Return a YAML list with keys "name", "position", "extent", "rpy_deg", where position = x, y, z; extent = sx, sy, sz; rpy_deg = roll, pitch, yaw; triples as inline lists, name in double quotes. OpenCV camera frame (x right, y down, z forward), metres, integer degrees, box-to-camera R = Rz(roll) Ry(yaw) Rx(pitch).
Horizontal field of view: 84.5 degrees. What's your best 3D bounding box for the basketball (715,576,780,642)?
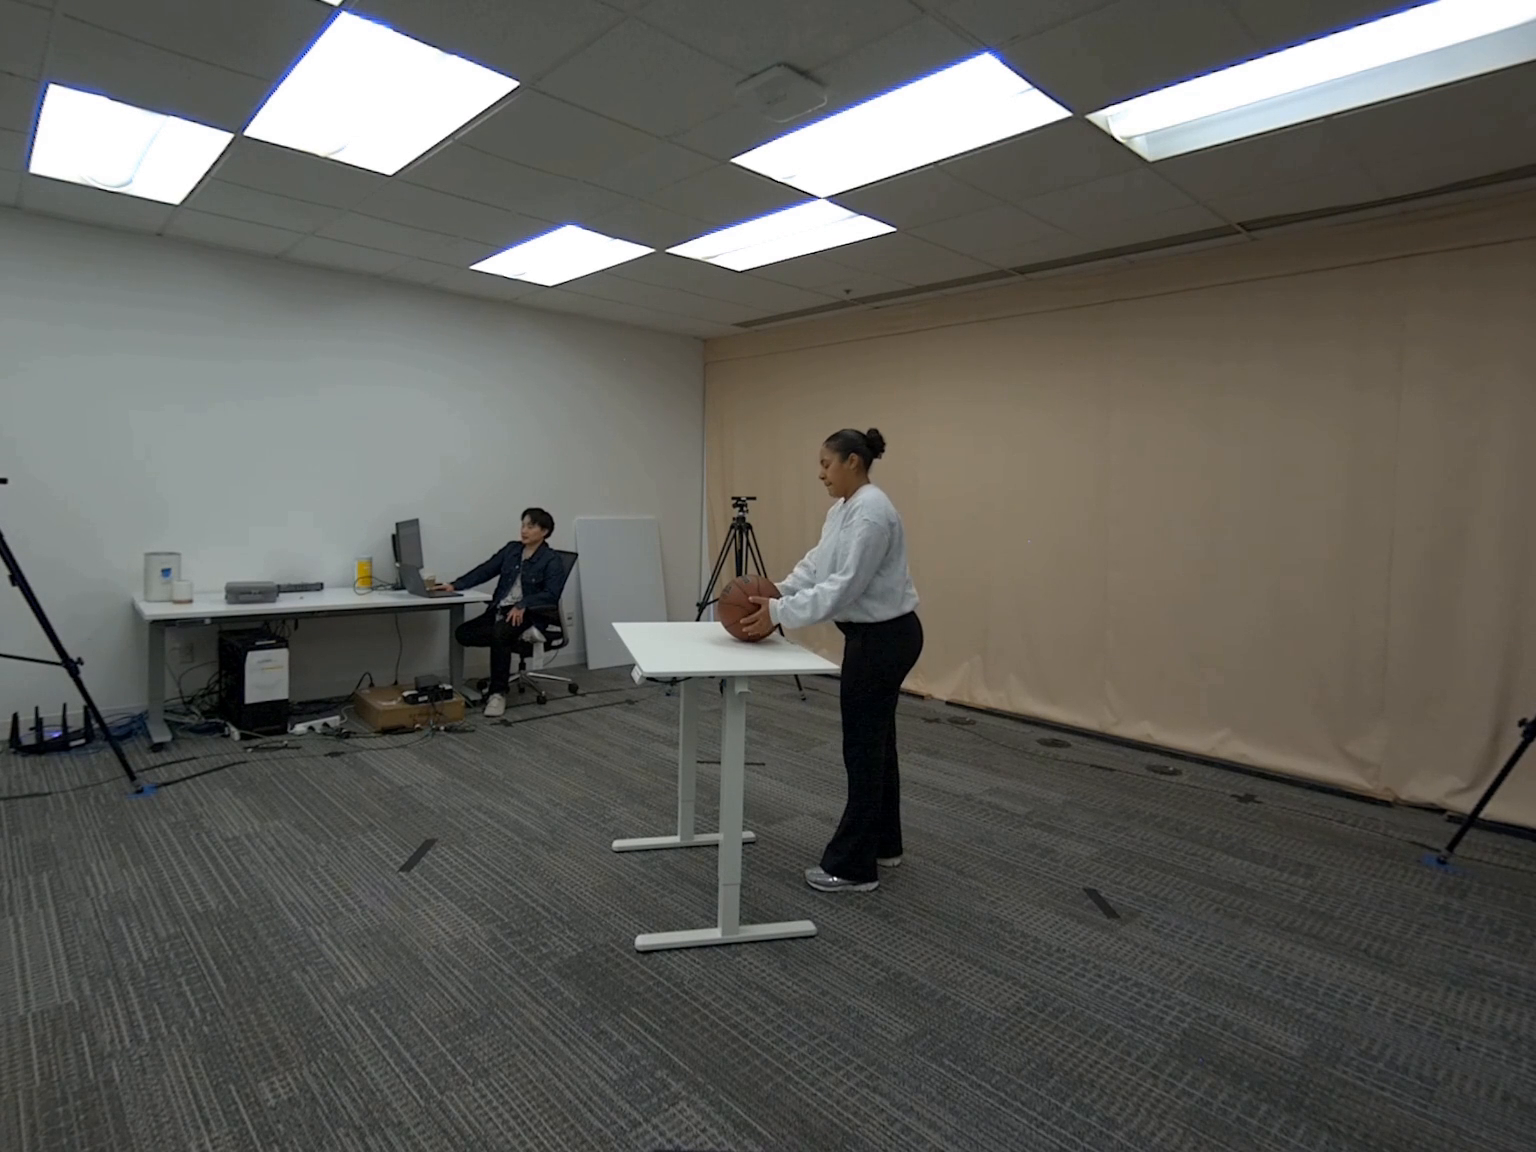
- name: "basketball"
  position: [-0.066, 0.111, 3.031]
  extent: [0.236, 0.235, 0.237]
  rpy_deg: [1, 4, -1]
